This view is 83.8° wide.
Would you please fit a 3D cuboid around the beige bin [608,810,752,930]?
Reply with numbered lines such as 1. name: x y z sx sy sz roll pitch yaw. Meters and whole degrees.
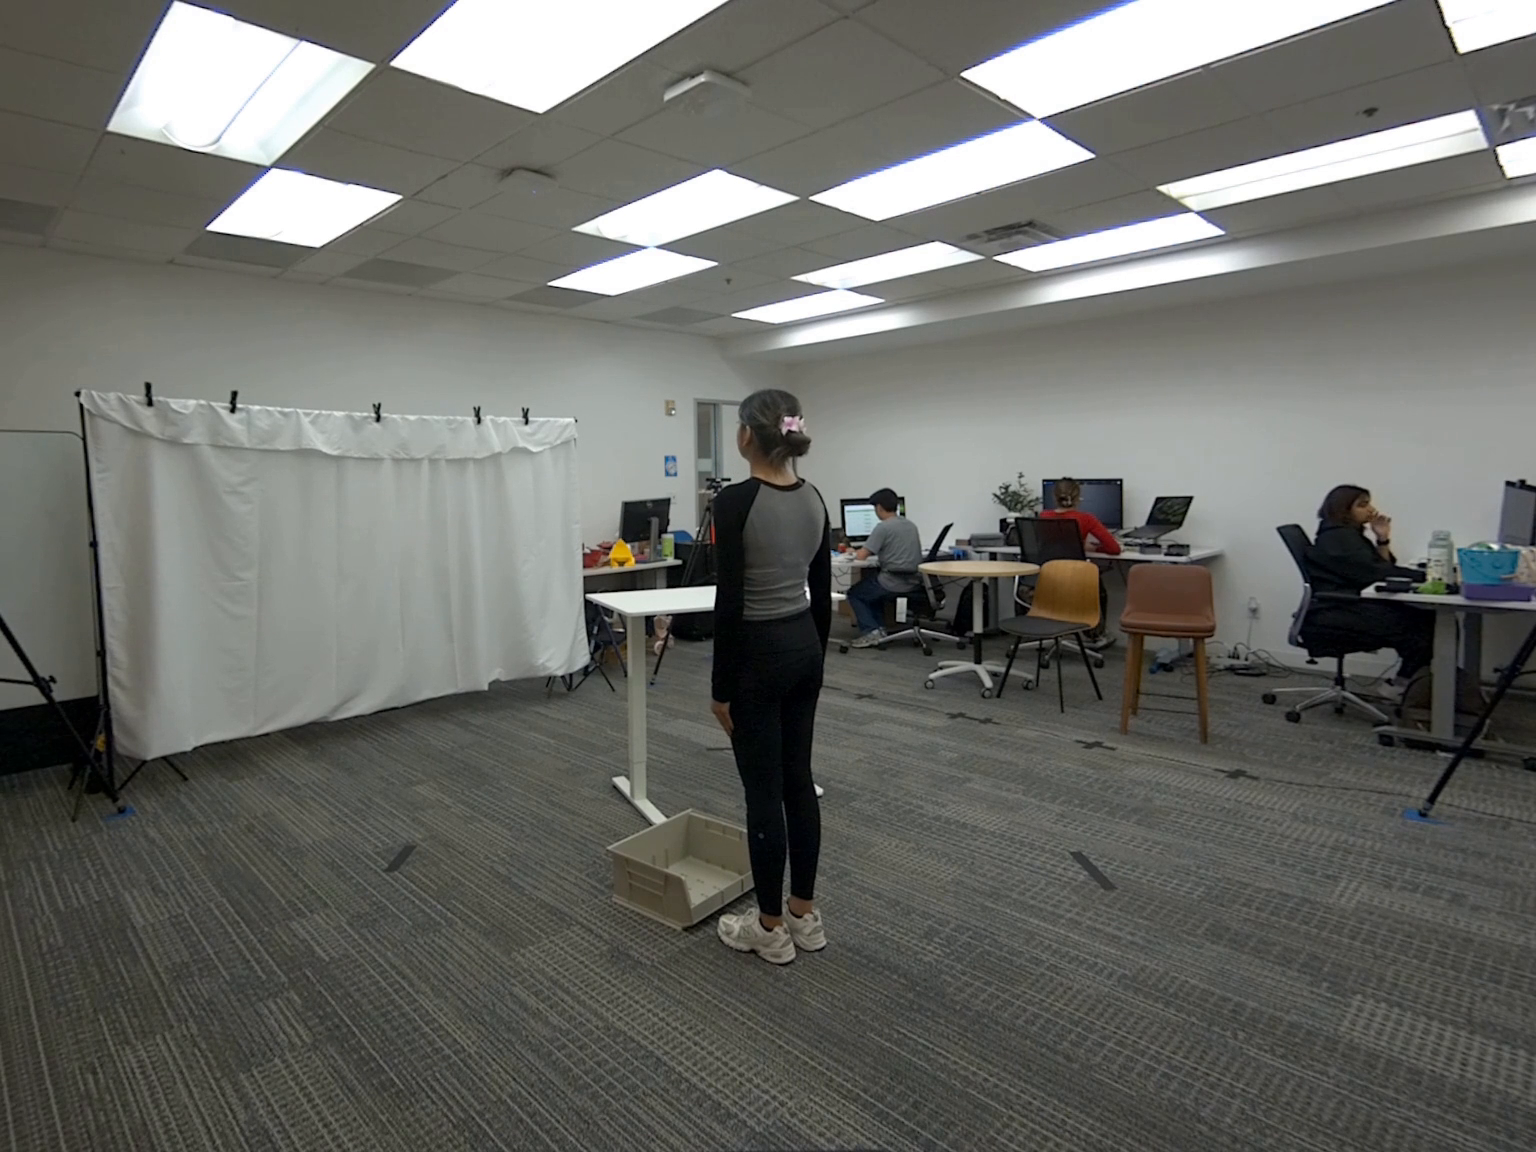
1. beige bin: -0.260 0.983 2.883 0.388 0.188 0.412 3 8 38
